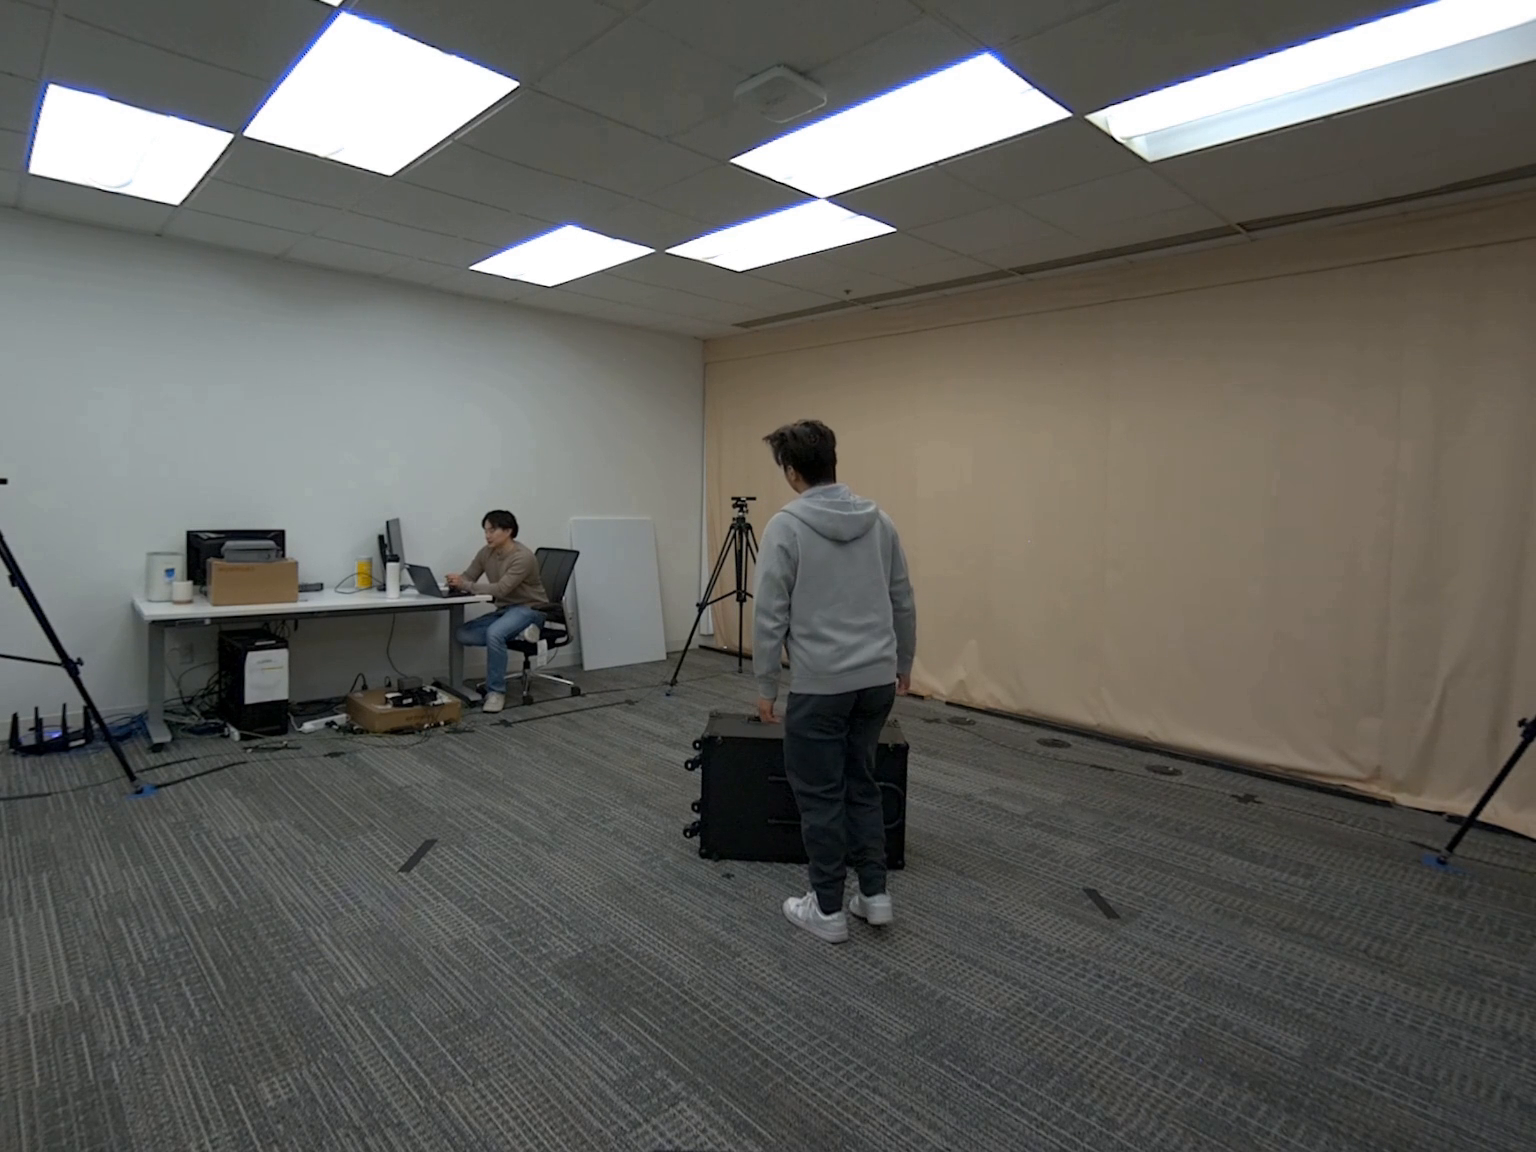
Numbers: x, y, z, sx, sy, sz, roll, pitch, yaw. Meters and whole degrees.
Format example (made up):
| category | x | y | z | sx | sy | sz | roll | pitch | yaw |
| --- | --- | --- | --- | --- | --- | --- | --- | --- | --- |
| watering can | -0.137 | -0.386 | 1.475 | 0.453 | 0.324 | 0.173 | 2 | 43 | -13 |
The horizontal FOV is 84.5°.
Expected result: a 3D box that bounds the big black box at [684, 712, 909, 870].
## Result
| category | x | y | z | sx | sy | sz | roll | pitch | yaw |
| --- | --- | --- | --- | --- | --- | --- | --- | --- | --- |
| big black box | 0.098 | 0.845 | 3.369 | 0.865 | 0.520 | 0.396 | 2 | 4 | 5 |
